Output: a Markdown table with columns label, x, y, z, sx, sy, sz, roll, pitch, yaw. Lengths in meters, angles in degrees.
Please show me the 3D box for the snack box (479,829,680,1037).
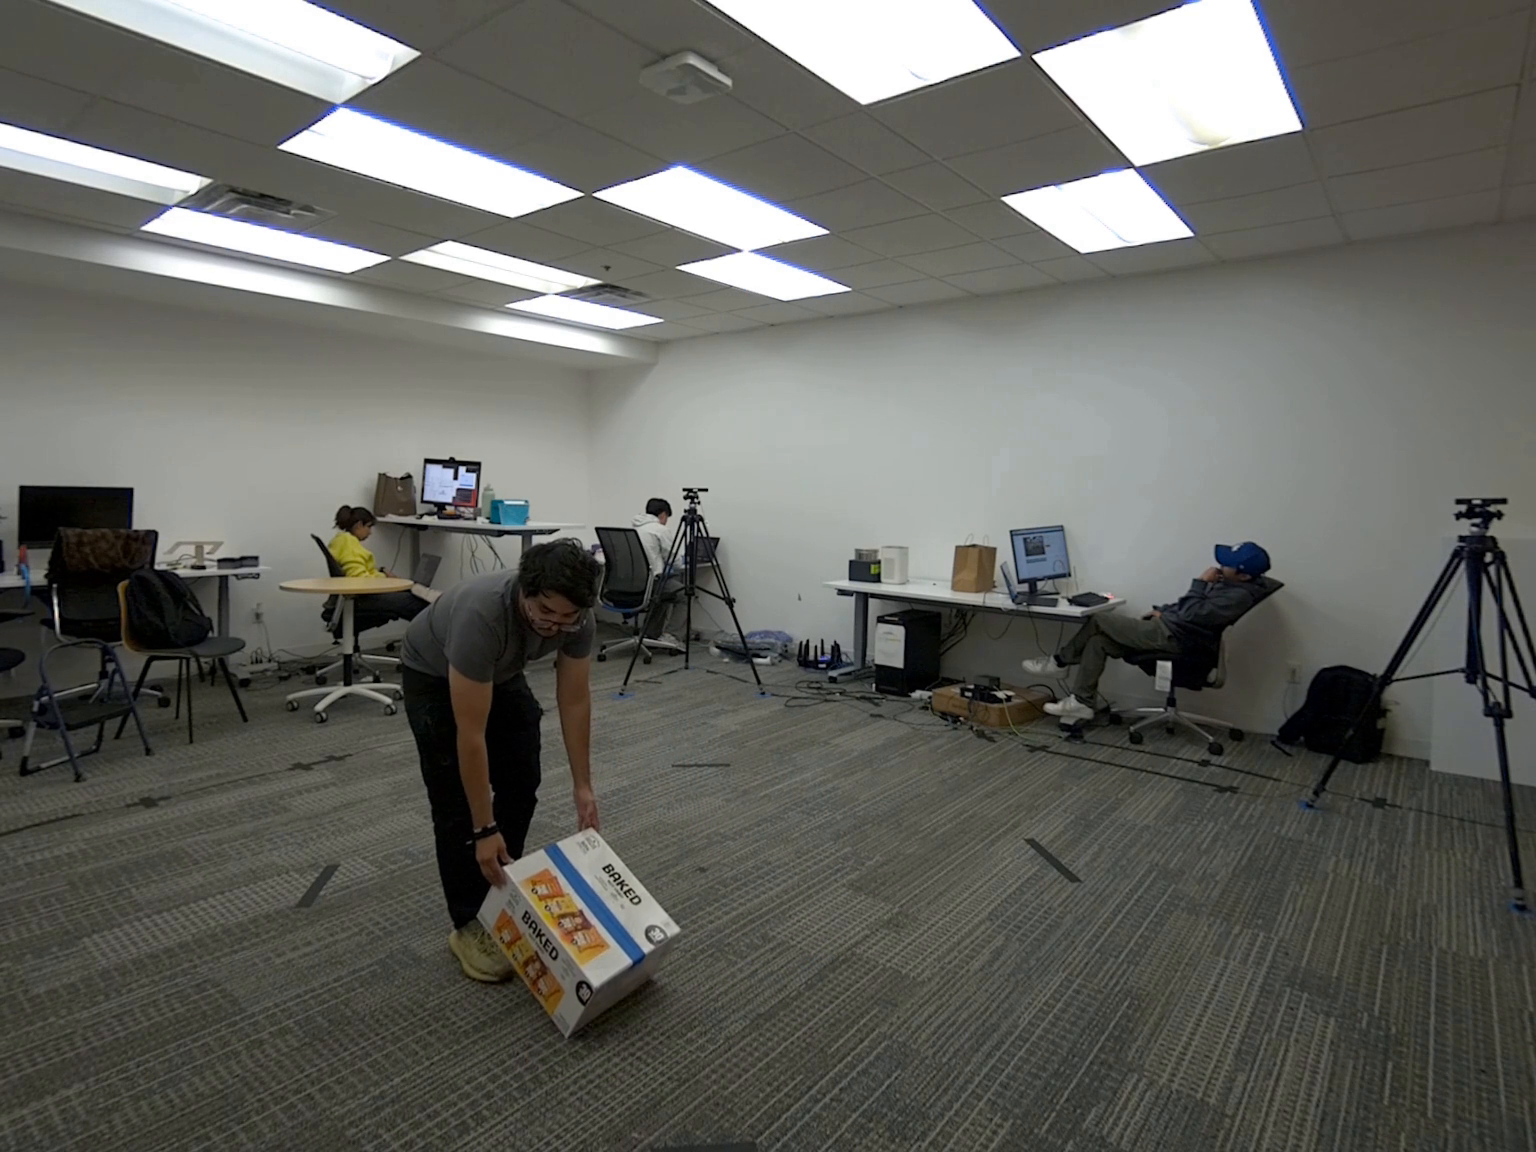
| label | x | y | z | sx | sy | sz | roll | pitch | yaw |
| --- | --- | --- | --- | --- | --- | --- | --- | --- | --- |
| snack box | -0.523 | 0.955 | 2.327 | 0.419 | 0.204 | 0.331 | 39 | 24 | 26 |
